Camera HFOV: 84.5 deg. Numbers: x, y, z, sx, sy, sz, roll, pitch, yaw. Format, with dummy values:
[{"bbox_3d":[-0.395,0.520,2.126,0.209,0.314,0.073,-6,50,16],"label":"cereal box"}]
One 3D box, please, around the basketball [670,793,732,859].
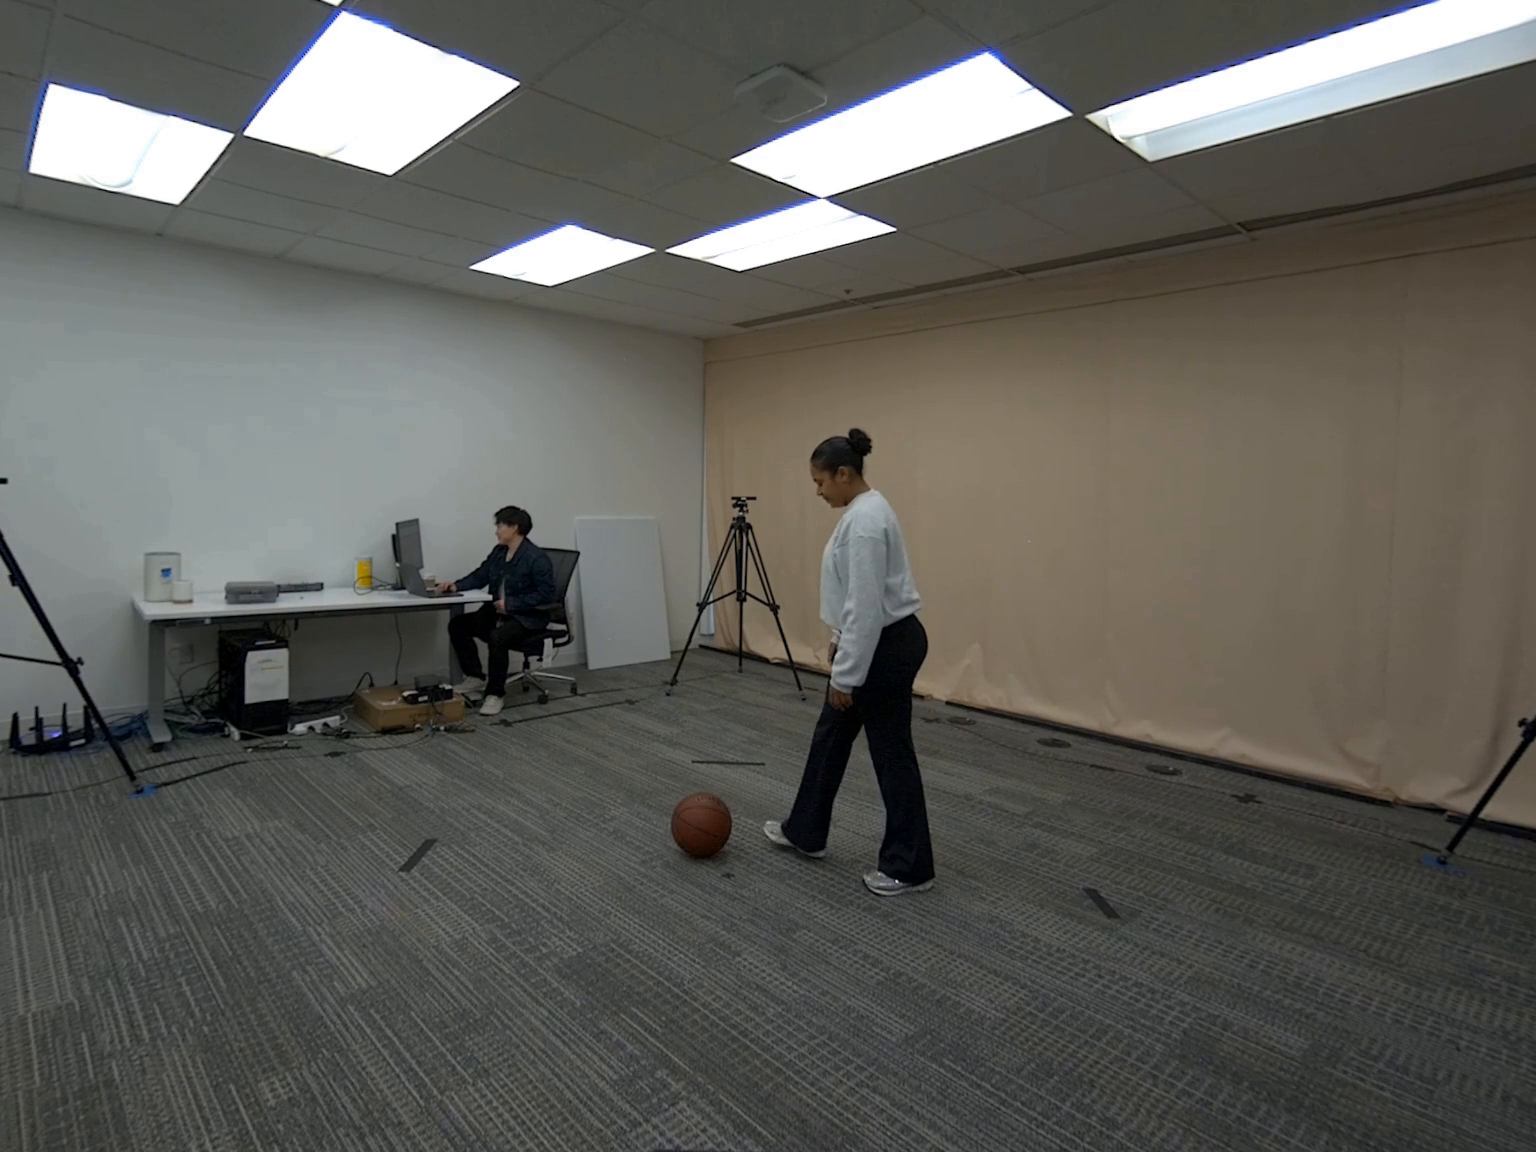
[{"bbox_3d":[-0.264,0.961,3.282,0.236,0.235,0.237,1,4,-1],"label":"basketball"}]
